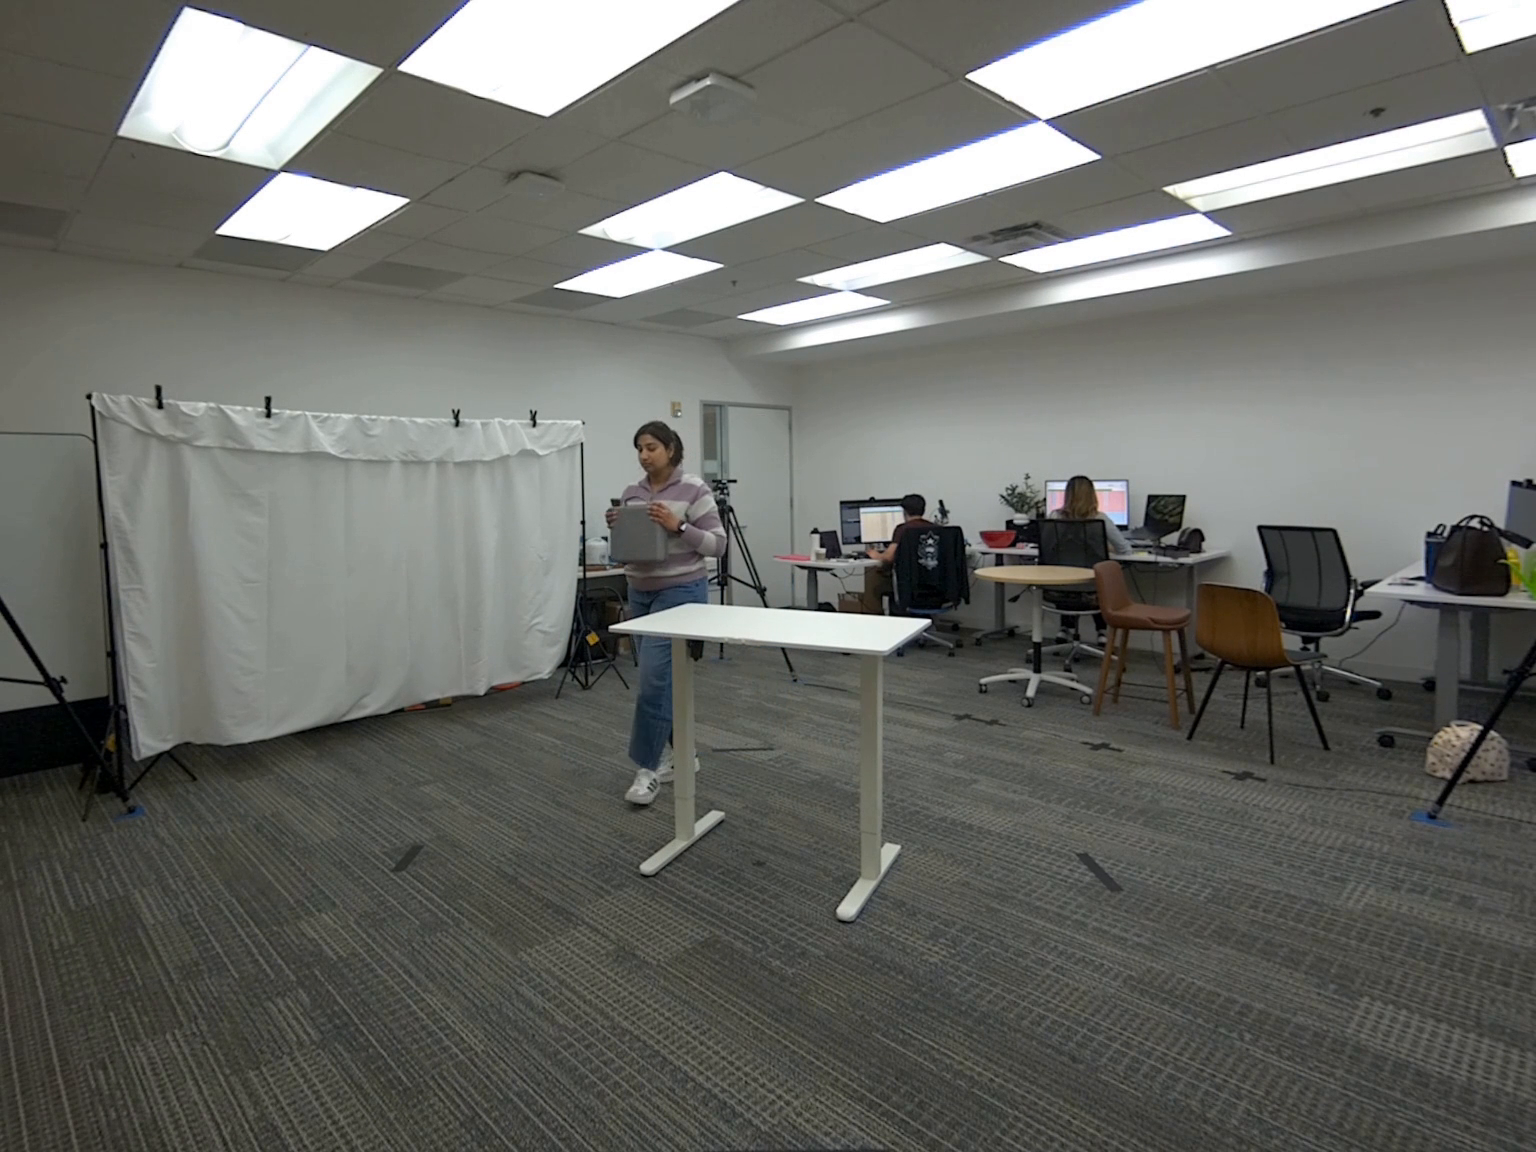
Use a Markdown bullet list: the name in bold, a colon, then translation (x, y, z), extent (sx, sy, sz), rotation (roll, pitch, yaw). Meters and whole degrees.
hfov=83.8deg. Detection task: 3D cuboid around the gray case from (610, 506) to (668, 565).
- **gray case**: translation (-0.567, -0.181, 3.741), extent (0.262, 0.261, 0.102), rotation (0, -2, 22)
